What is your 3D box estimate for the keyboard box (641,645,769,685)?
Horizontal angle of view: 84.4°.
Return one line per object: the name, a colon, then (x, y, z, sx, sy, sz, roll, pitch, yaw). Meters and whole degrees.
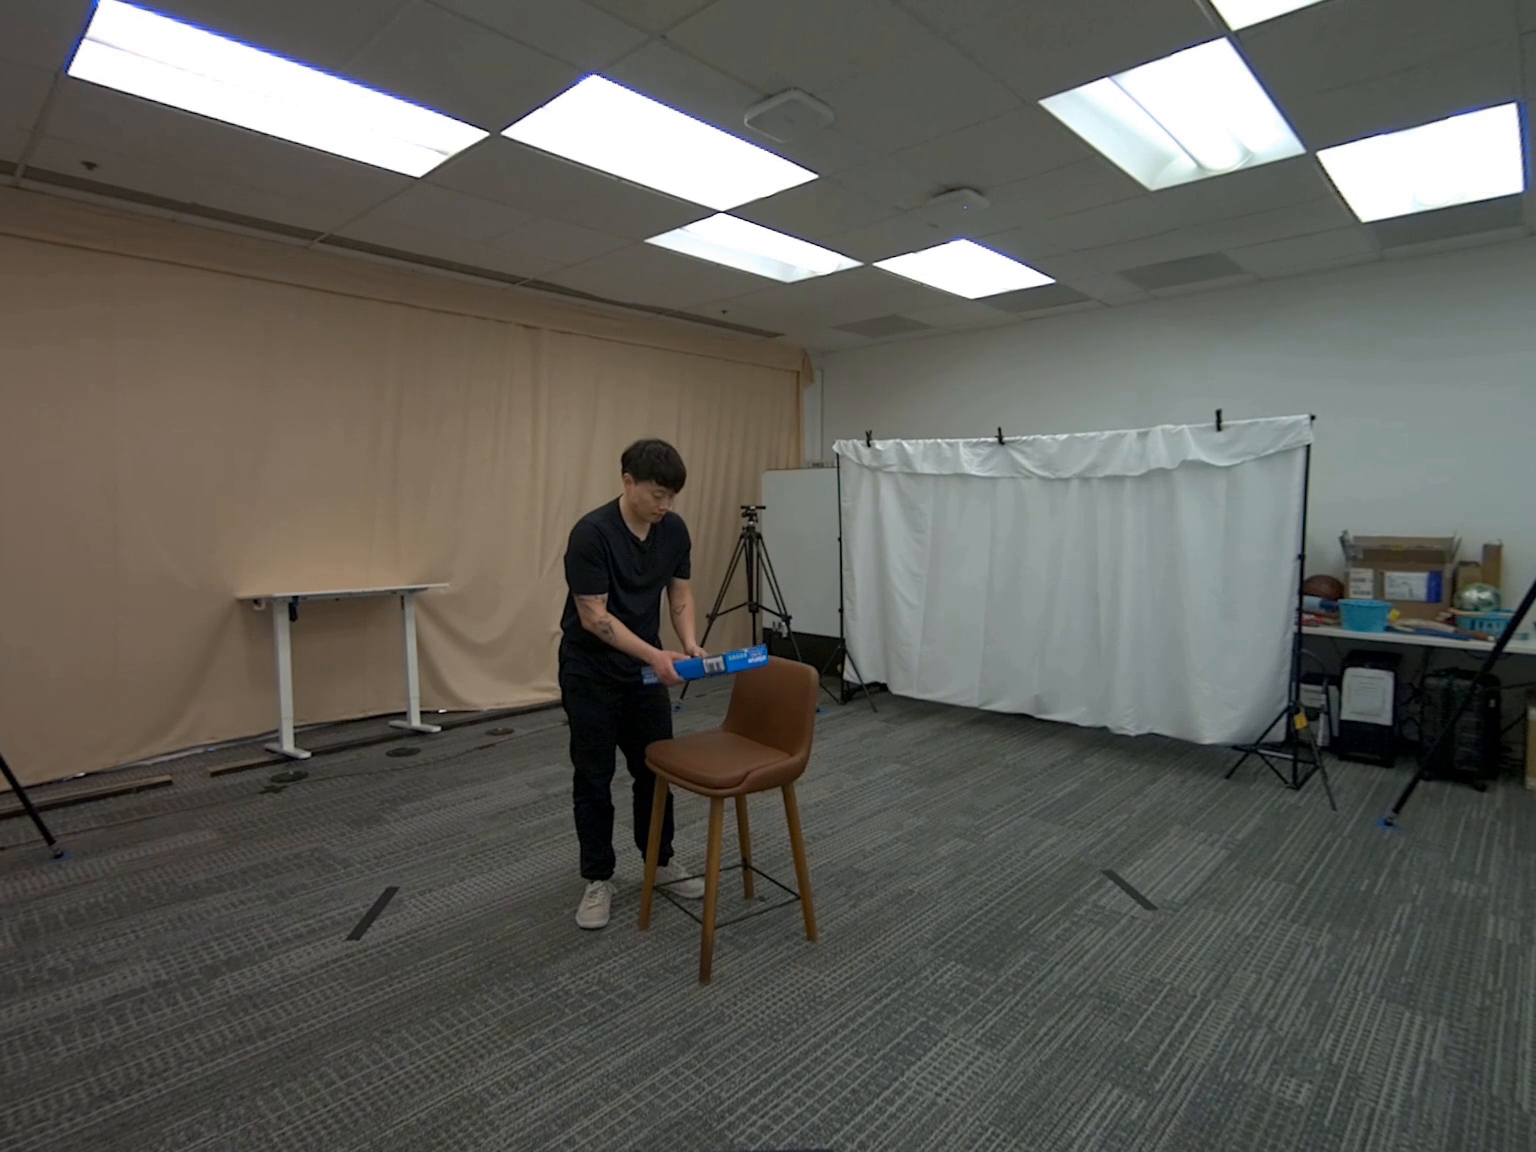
keyboard box: (-0.212, 0.289, 2.665, 0.171, 0.059, 0.448, -8, -5, -43)
